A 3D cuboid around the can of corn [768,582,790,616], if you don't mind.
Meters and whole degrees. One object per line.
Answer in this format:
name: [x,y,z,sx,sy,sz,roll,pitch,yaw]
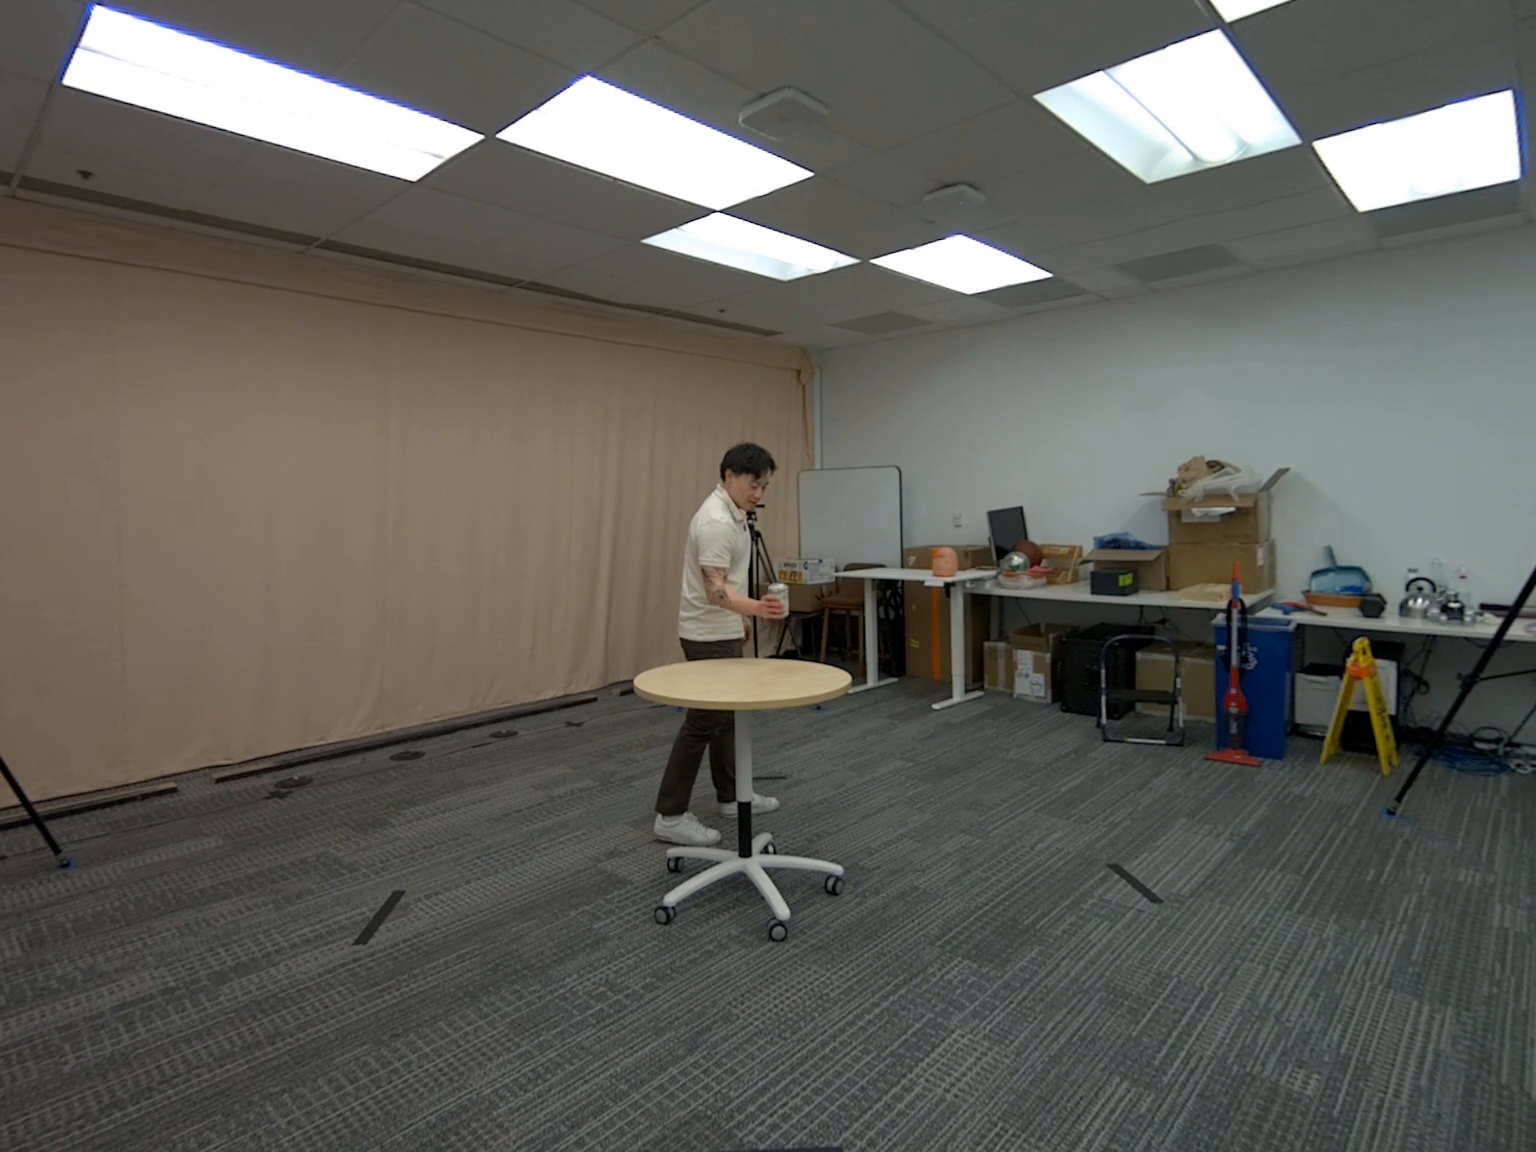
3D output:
can of corn: [0.044,0.094,3.123,0.074,0.110,0.075,-3,15,-1]
